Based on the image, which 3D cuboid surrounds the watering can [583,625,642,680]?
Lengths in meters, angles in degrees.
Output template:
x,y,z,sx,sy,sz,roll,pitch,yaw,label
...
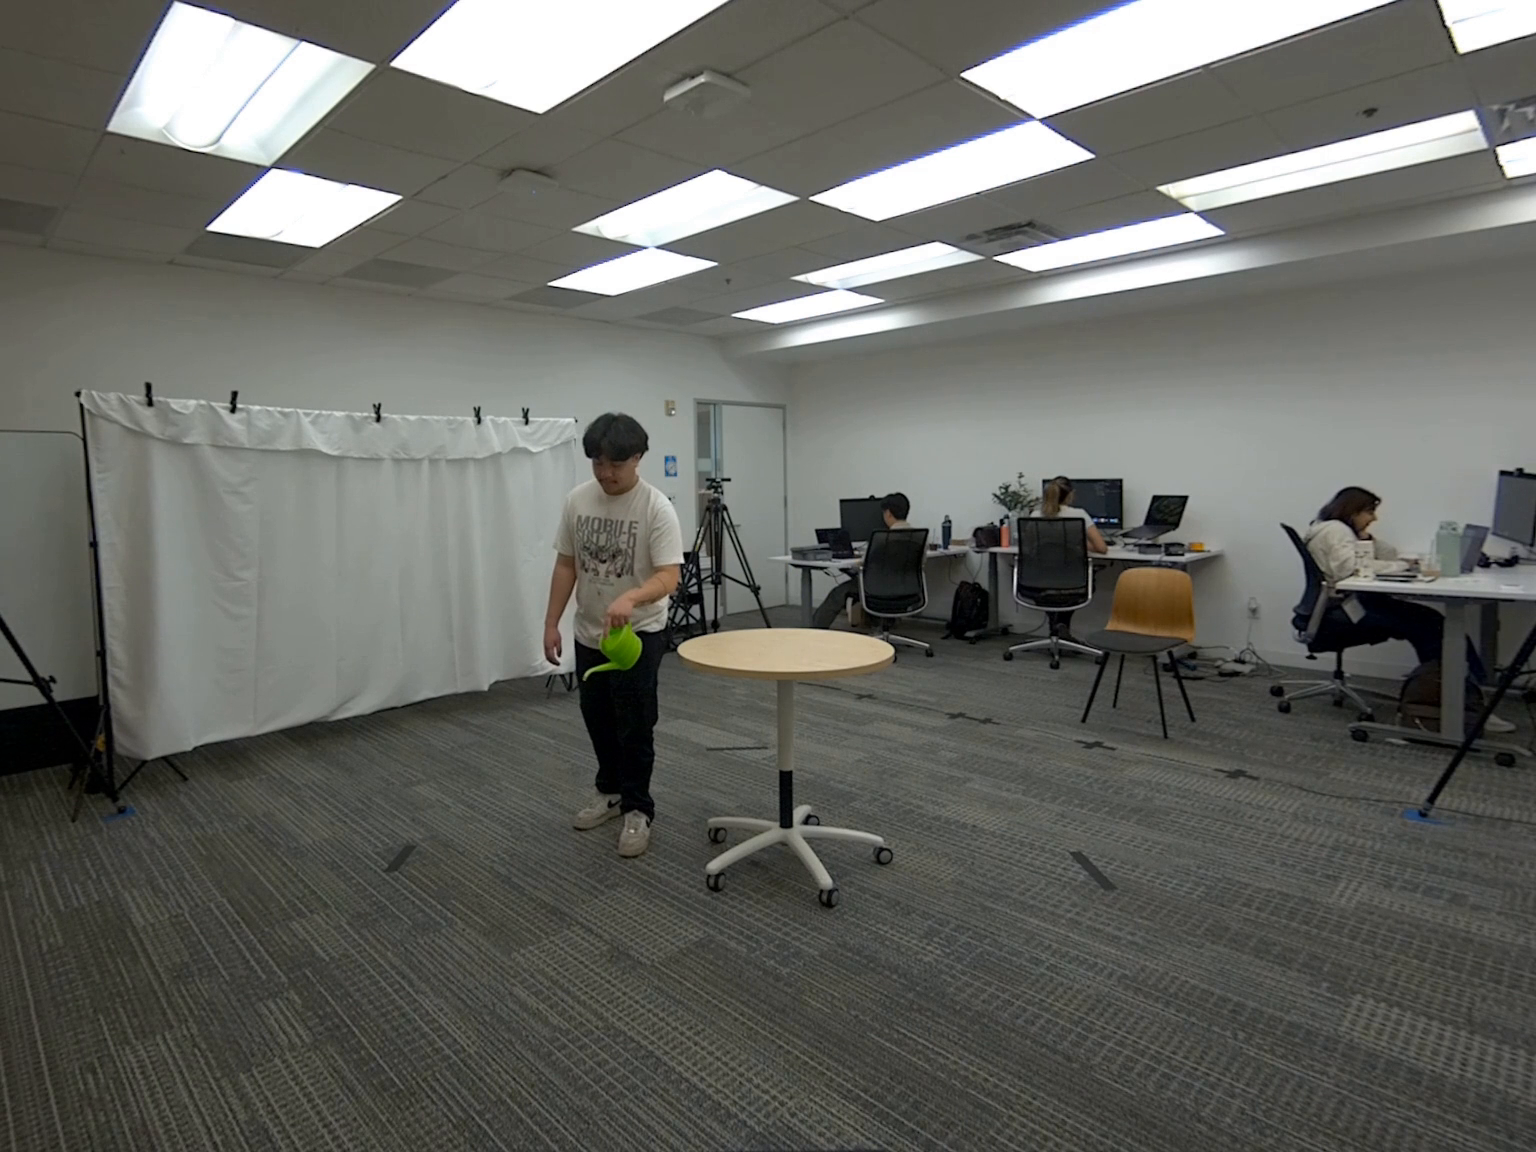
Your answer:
x,y,z,sx,sy,sz,roll,pitch,yaw,label
-0.542,0.264,2.929,0.101,0.280,0.170,15,-31,31,watering can
